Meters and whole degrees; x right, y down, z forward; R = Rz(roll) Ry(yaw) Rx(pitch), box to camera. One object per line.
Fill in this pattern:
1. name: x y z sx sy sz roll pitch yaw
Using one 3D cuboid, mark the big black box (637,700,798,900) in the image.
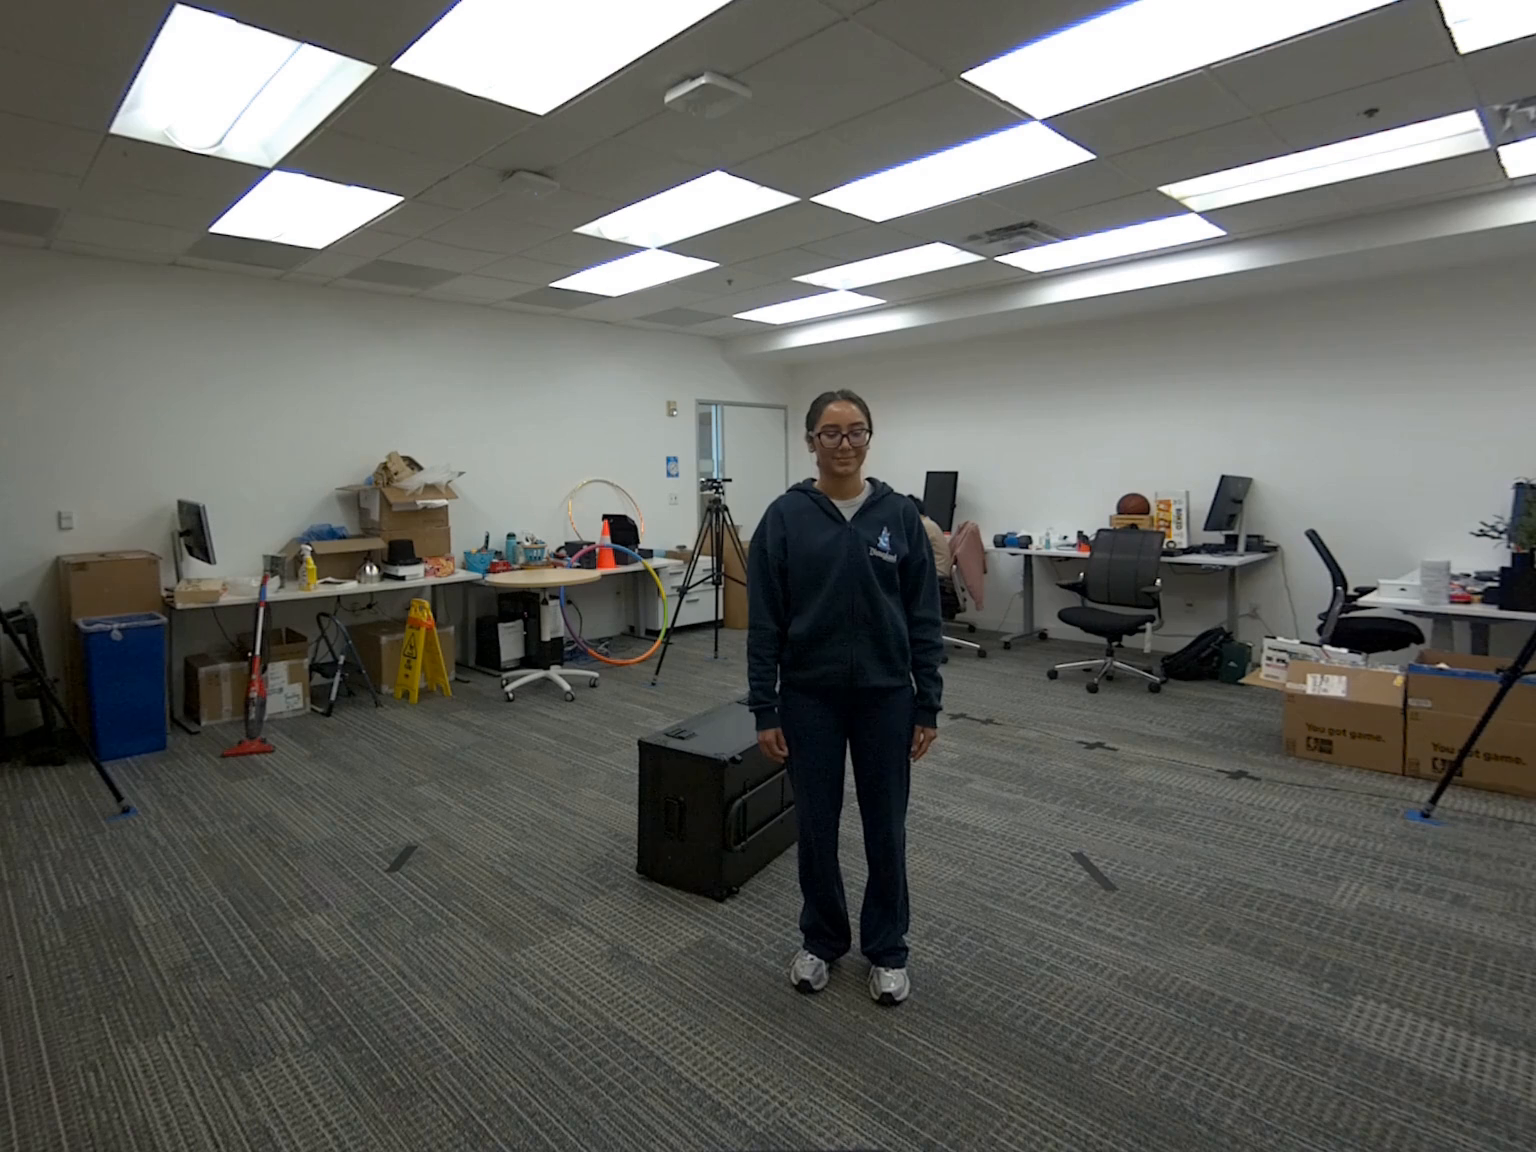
1. big black box: -0.084 0.773 3.236 0.407 0.518 0.843 5 8 29
